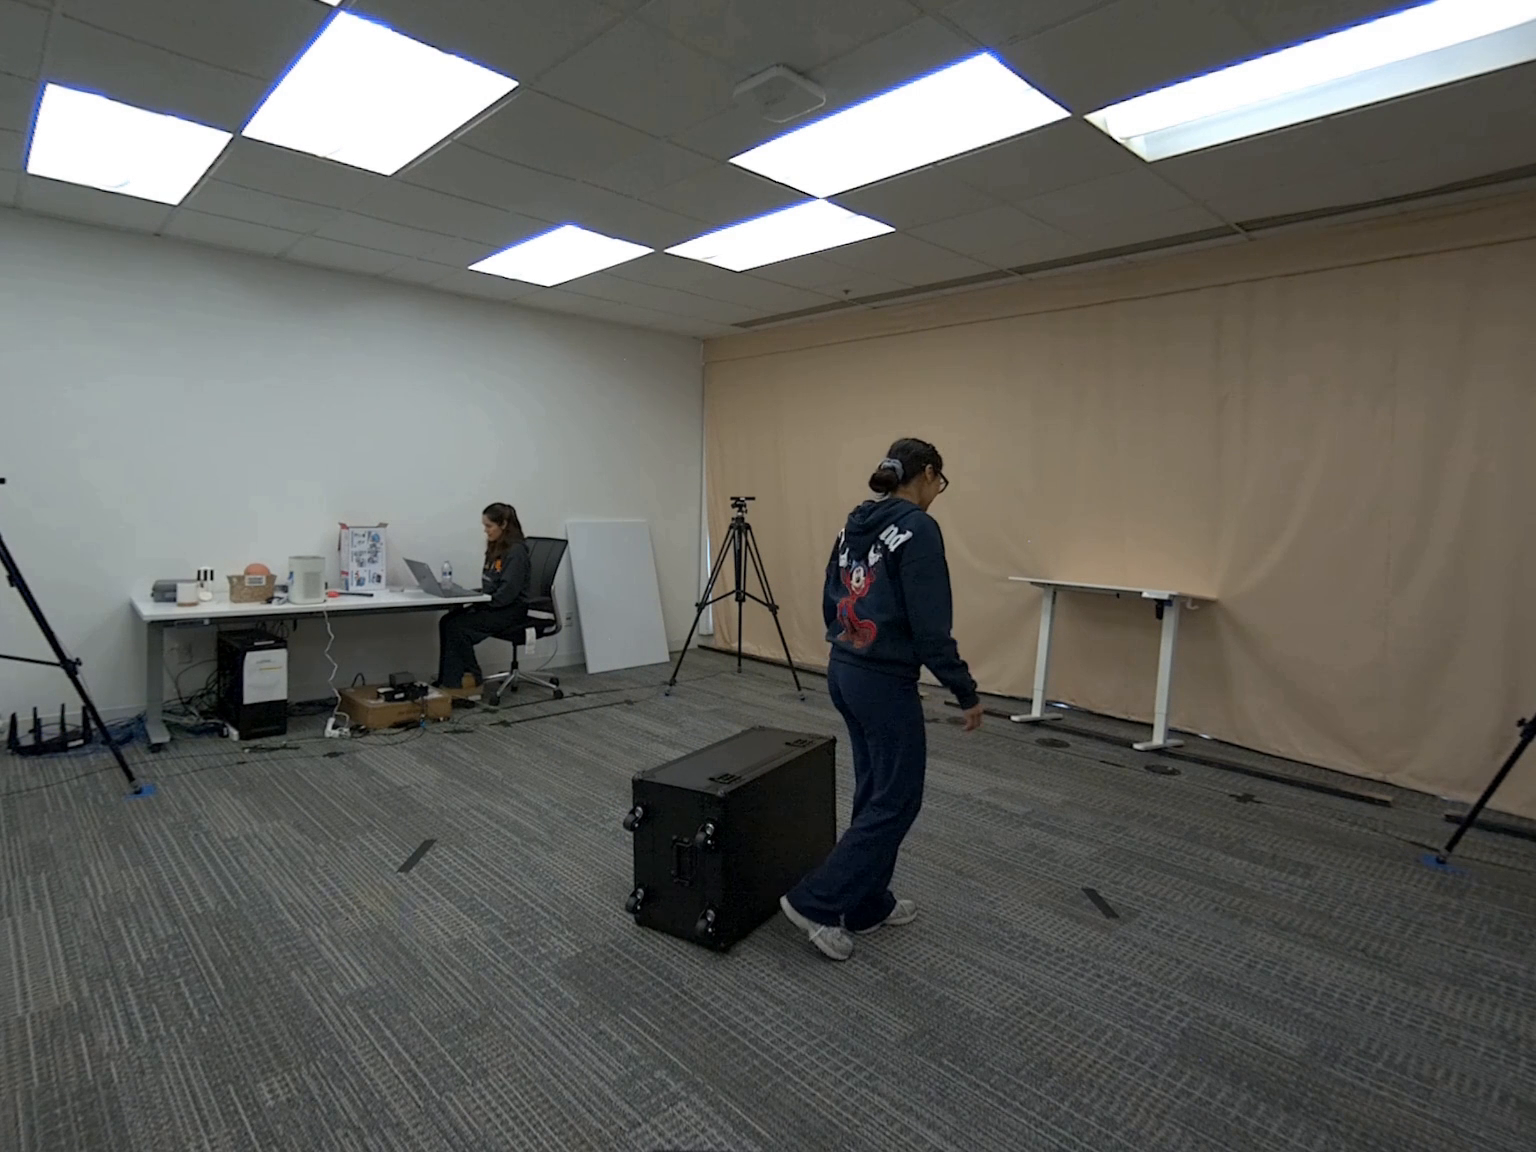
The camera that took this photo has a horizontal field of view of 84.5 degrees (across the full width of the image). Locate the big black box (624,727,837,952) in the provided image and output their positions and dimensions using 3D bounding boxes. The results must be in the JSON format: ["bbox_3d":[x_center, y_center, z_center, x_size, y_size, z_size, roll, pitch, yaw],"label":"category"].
[{"bbox_3d":[-0.119,0.866,2.944,0.405,0.520,0.845,1,3,30],"label":"big black box"}]
